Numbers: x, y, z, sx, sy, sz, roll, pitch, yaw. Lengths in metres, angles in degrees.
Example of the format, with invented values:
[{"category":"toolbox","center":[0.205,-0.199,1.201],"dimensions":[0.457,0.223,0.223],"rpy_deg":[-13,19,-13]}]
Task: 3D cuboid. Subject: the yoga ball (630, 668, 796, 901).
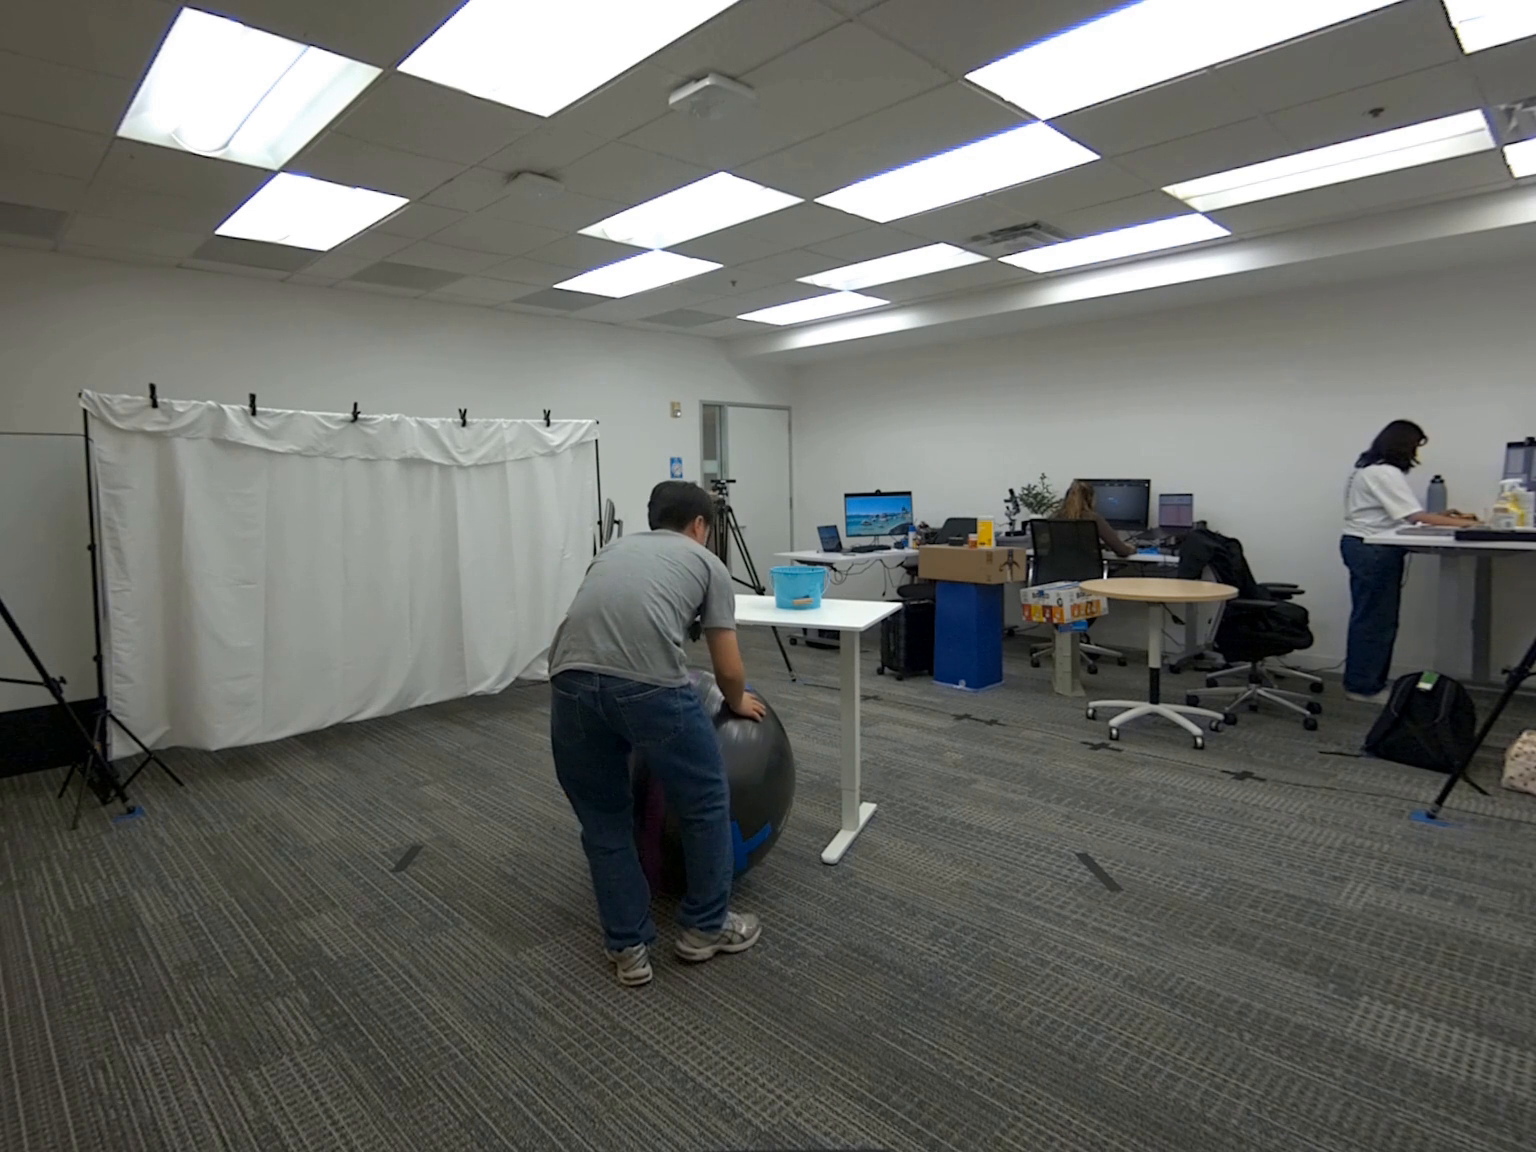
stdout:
[{"category":"yoga ball","center":[-0.289,0.696,2.976],"dimensions":[0.757,0.755,0.762],"rpy_deg":[-1,5,-2]}]
